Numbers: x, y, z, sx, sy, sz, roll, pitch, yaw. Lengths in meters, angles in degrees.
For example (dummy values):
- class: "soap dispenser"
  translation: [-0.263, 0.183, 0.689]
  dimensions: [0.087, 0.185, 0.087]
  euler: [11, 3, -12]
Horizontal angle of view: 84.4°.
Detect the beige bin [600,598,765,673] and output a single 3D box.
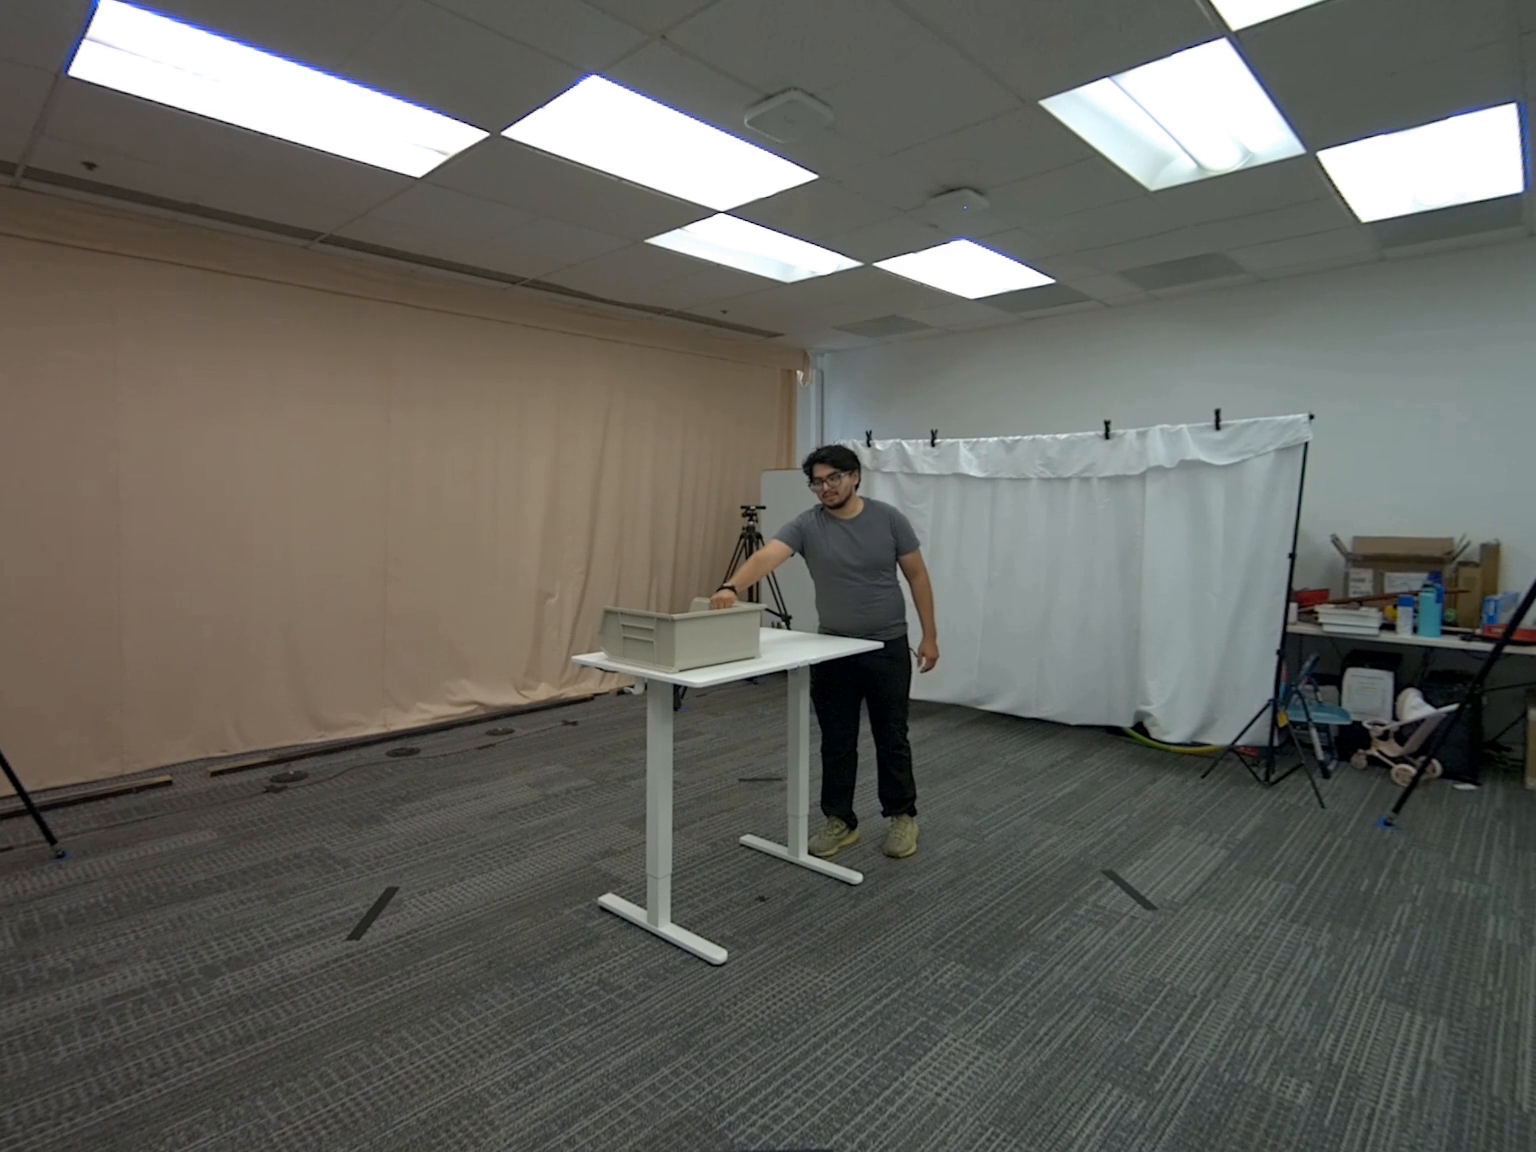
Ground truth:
- class: "beige bin"
  translation: [-0.288, 0.188, 2.797]
  dimensions: [0.390, 0.188, 0.409]
  euler: [6, 7, 44]
